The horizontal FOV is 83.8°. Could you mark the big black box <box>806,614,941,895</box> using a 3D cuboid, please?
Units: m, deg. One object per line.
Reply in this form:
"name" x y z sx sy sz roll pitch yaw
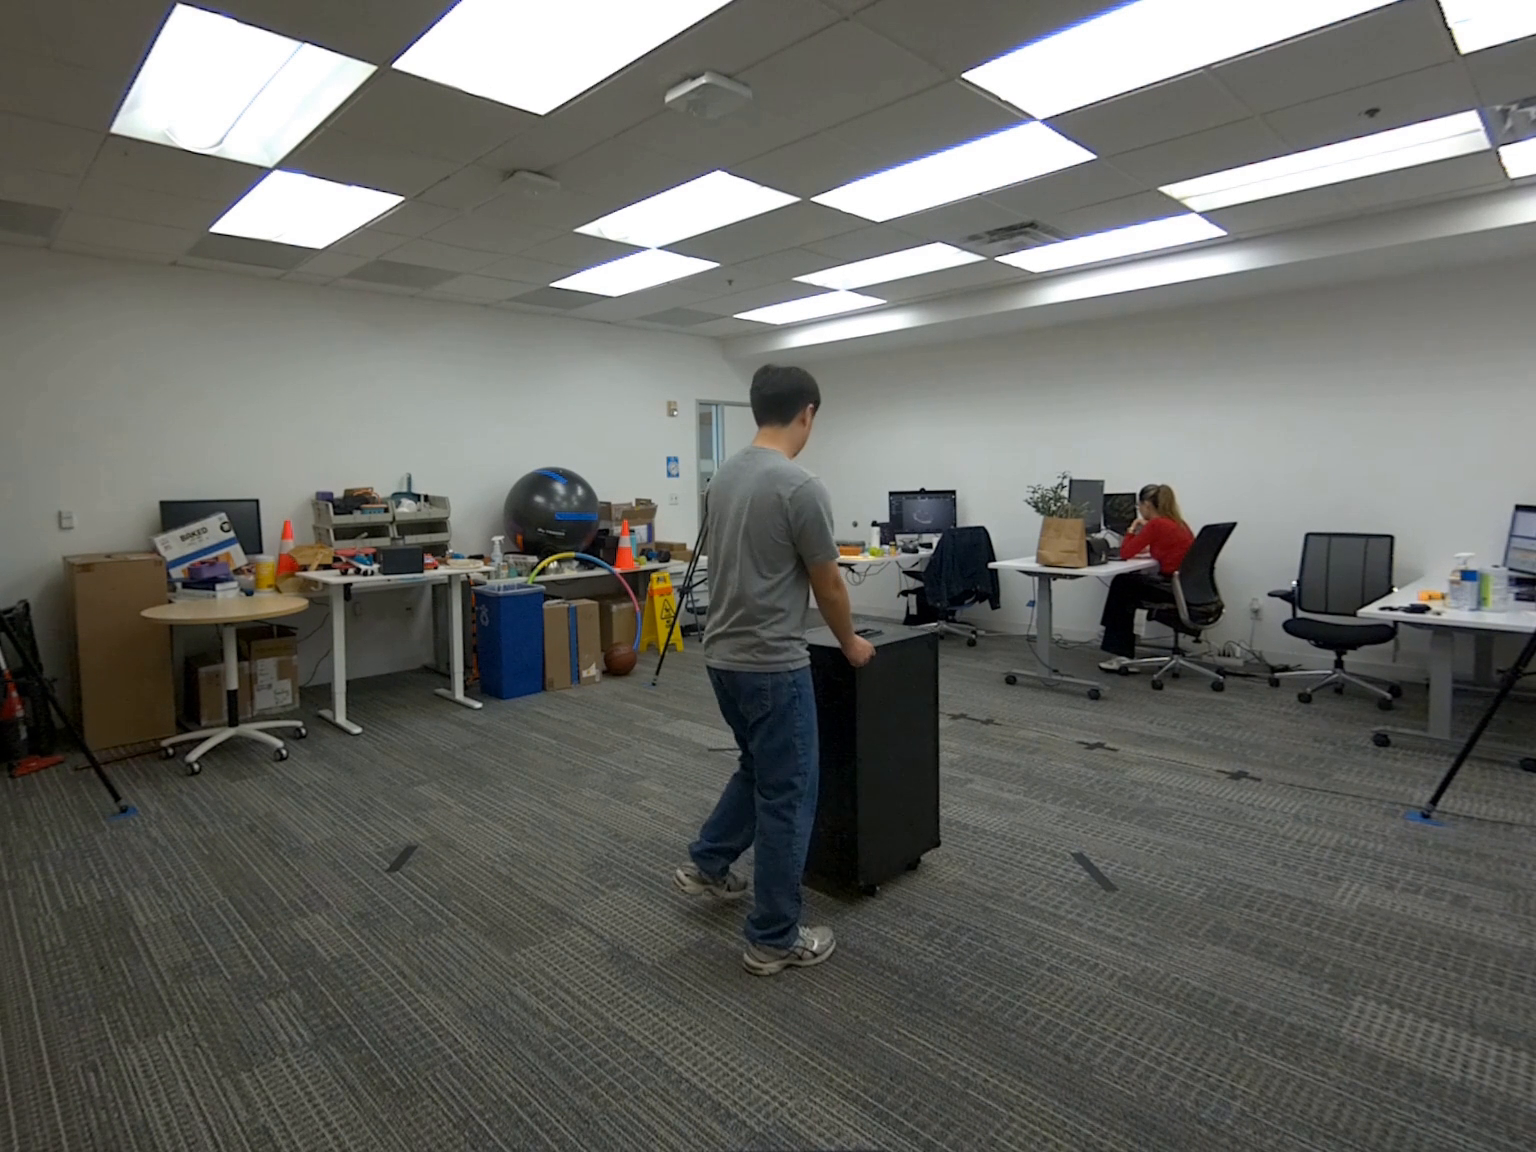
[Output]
"big black box" 0.311 0.628 3.012 0.408 0.859 0.507 2 5 45
